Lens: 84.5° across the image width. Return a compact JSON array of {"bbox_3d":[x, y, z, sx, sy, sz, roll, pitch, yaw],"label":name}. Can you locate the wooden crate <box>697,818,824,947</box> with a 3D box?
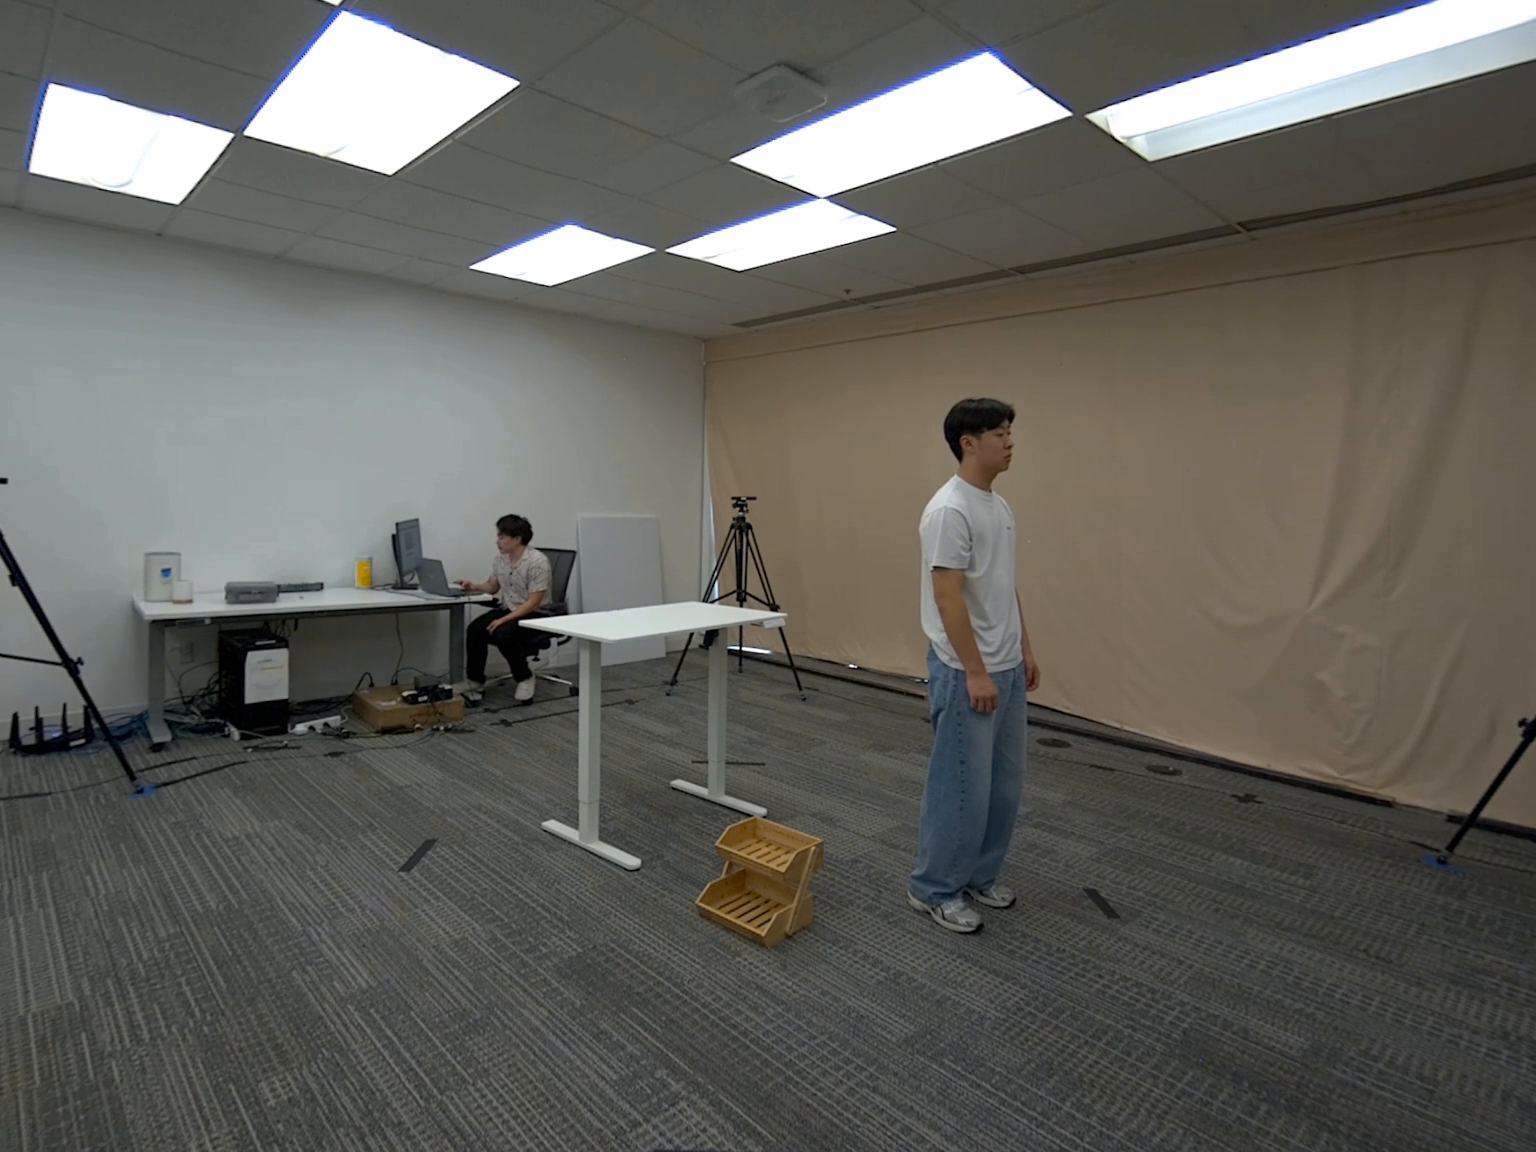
[{"bbox_3d":[-0.032,0.998,2.799,0.333,0.273,0.295,5,5,41],"label":"wooden crate"}]
